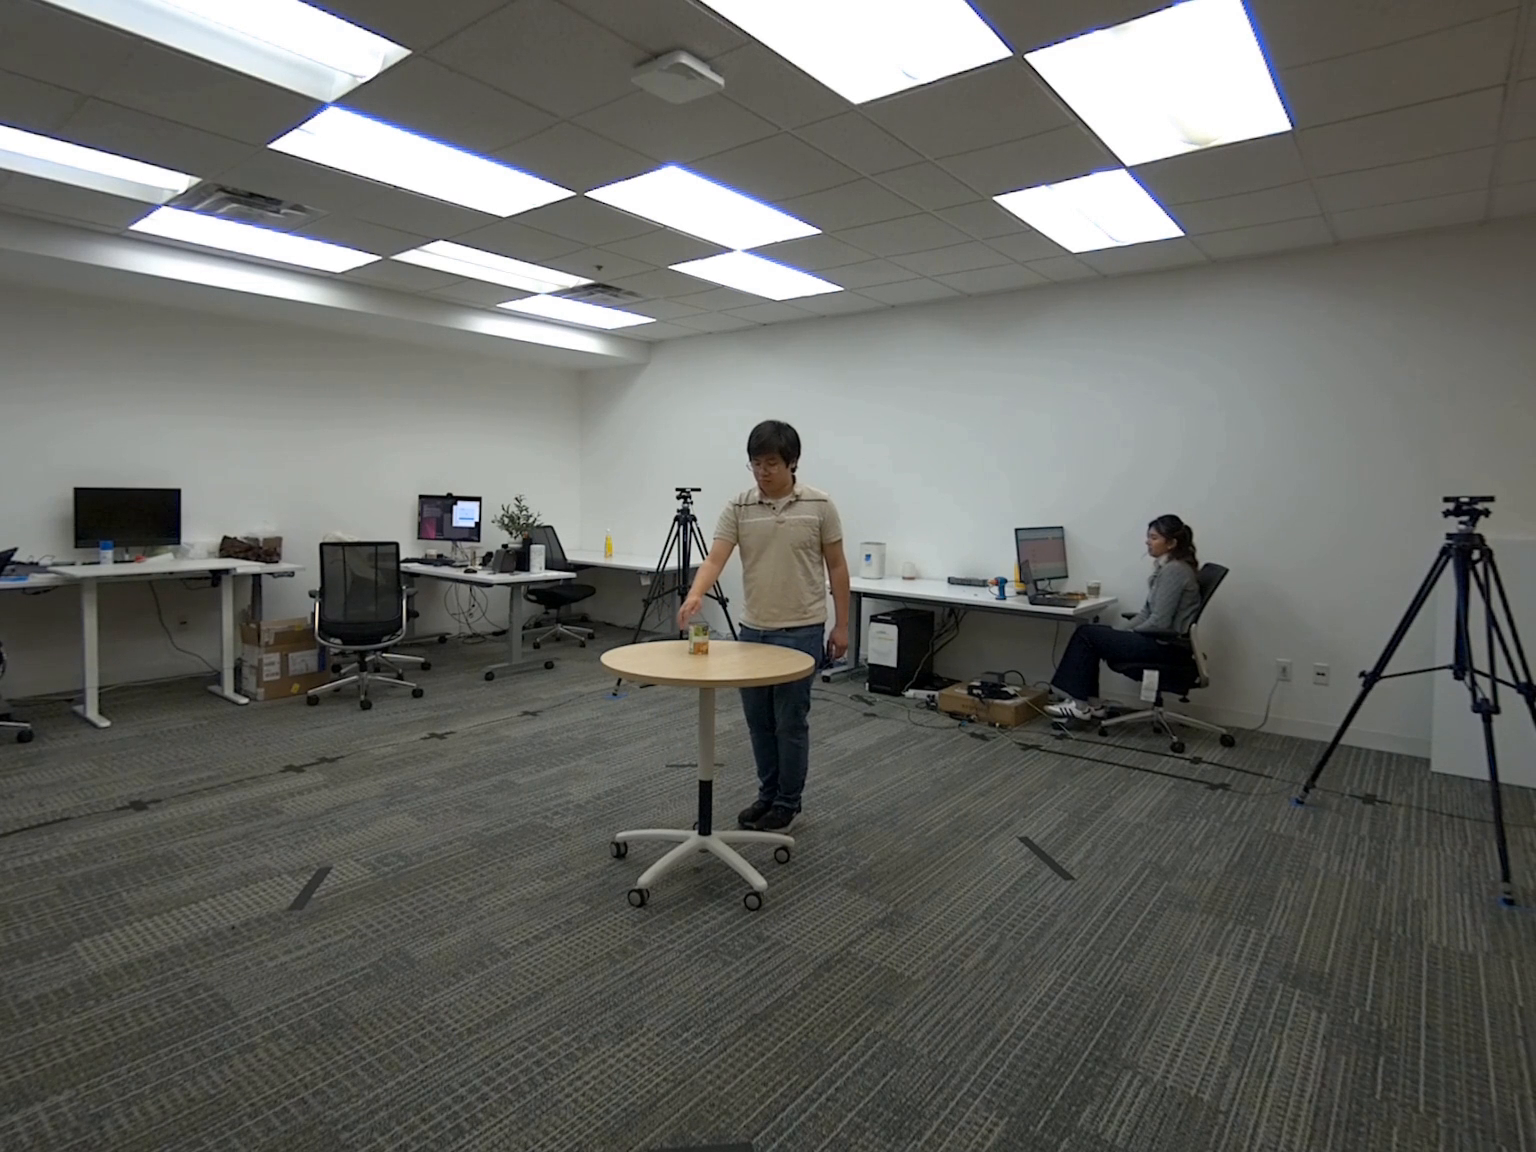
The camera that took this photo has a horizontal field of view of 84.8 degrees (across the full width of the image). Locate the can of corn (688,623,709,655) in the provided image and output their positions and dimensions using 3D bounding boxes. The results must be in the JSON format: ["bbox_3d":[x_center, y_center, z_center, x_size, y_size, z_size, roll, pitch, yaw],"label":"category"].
[{"bbox_3d":[-0.272,0.226,3.139,0.074,0.111,0.074,-2,1,-2],"label":"can of corn"}]
